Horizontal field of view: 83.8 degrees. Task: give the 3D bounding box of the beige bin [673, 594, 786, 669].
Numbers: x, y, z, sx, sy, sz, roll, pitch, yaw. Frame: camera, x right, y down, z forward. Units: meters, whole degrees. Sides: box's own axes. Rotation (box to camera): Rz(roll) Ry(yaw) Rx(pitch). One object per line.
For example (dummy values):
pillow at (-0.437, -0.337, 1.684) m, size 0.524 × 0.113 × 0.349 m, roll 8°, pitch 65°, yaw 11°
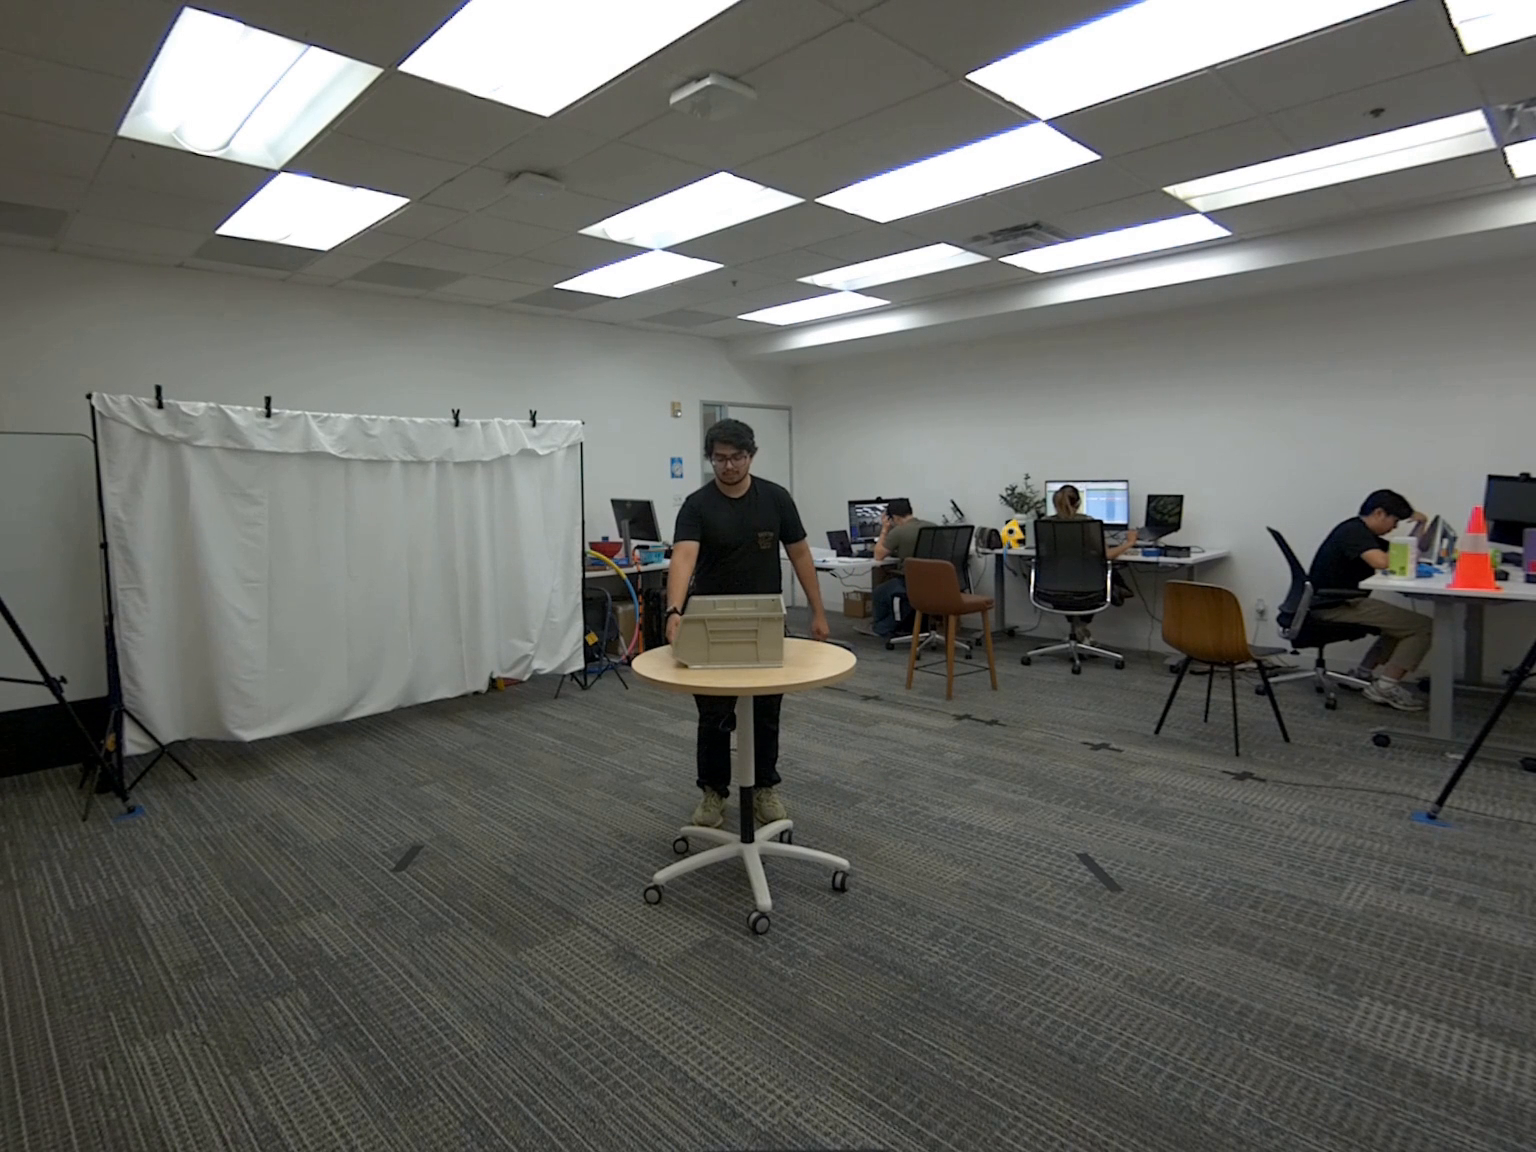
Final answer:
beige bin at (-0.139, 0.194, 2.988) m, size 0.377 × 0.188 × 0.424 m, roll -1°, pitch 6°, yaw -1°
